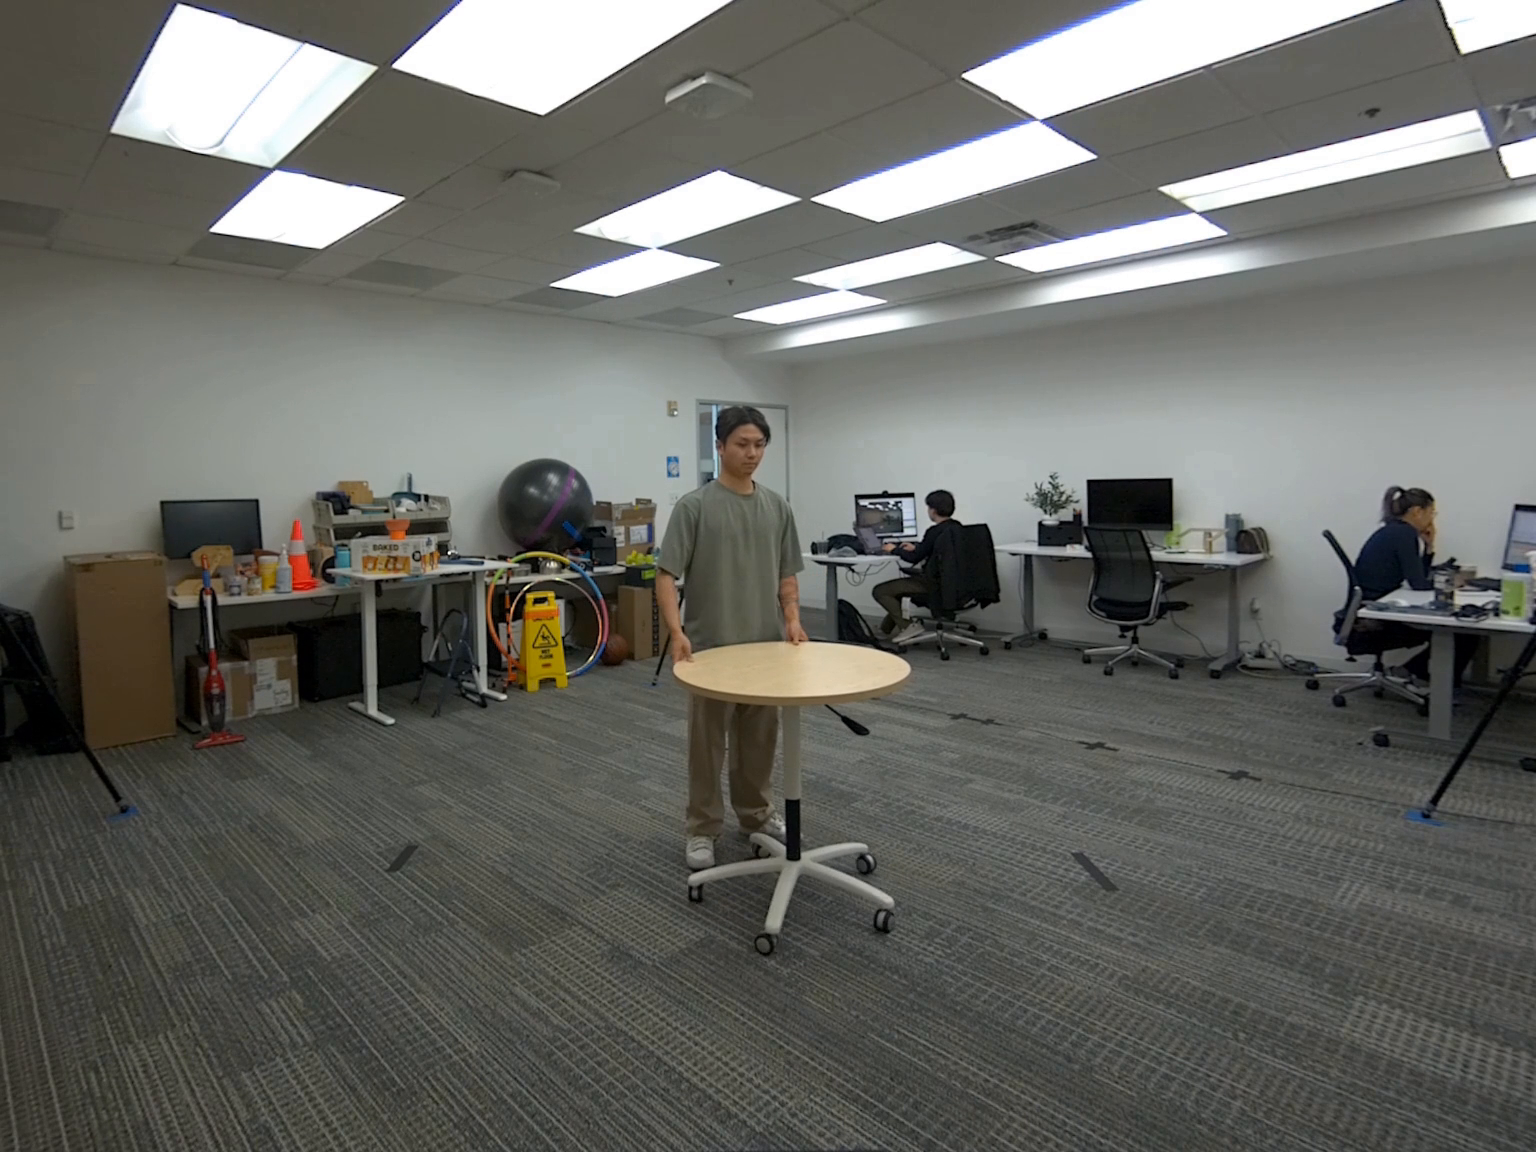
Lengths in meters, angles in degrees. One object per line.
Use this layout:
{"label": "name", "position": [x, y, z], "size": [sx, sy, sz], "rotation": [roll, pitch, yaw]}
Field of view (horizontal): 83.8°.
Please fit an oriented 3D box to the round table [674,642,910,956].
{"label": "round table", "position": [0.080, 0.682, 2.818], "size": [0.784, 0.783, 0.790], "rotation": [-1, 6, -2]}
